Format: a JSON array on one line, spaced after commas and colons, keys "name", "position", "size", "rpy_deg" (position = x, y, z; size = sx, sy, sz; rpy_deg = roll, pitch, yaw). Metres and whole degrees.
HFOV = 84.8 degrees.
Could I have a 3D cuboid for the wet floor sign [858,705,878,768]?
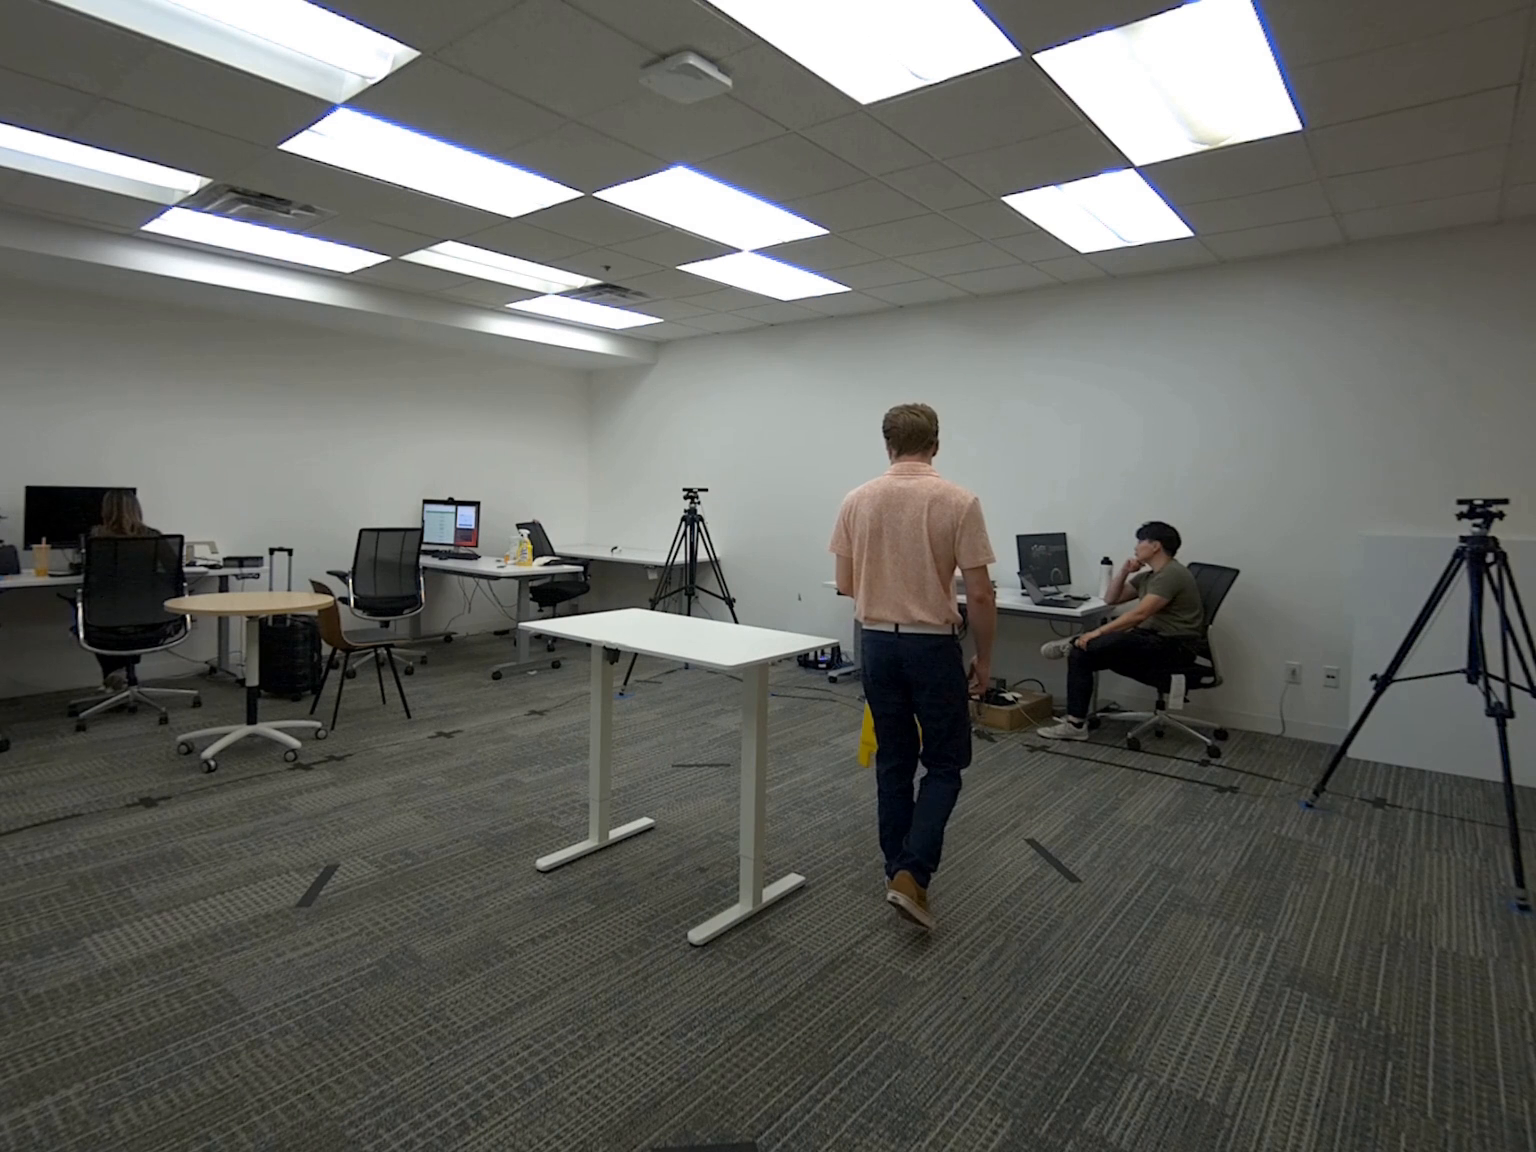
[{"name": "wet floor sign", "position": [0.492, 0.406, 3.205], "size": [0.285, 0.642, 0.288], "rpy_deg": [-7, 6, -17]}]
